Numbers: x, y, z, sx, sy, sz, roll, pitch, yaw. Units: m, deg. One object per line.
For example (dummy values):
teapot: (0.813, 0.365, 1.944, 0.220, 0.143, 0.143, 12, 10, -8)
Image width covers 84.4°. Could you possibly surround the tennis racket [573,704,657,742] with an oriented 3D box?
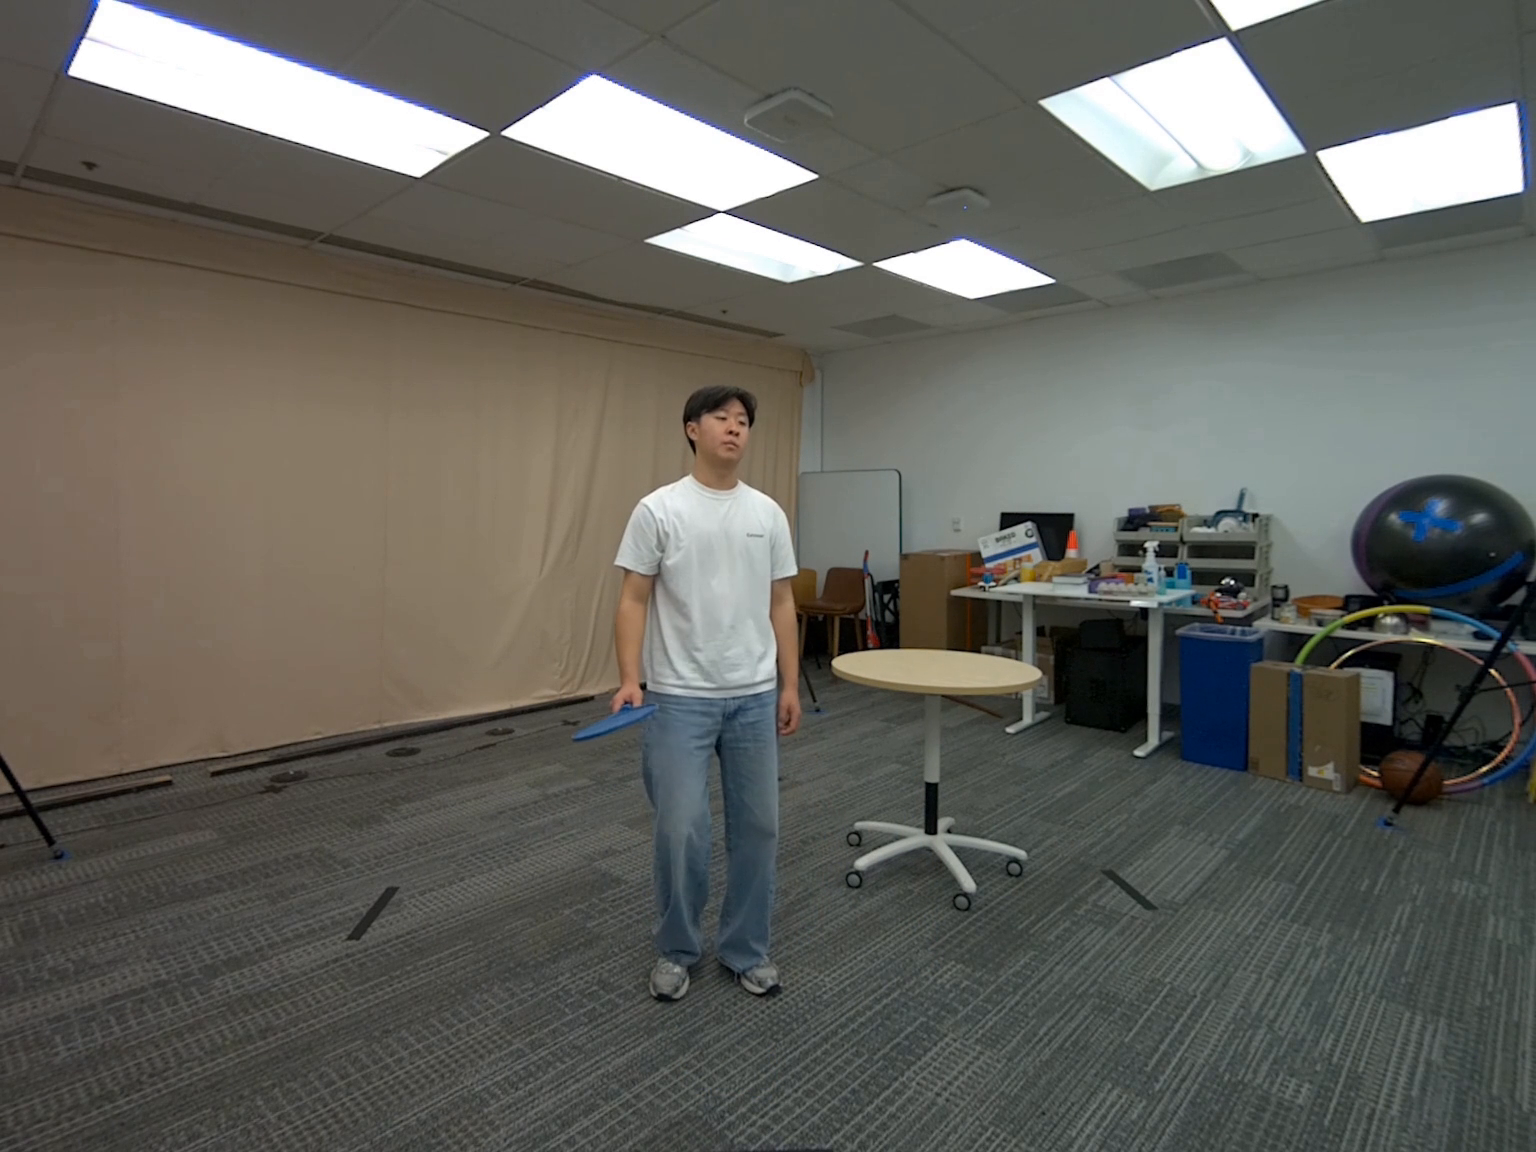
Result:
tennis racket: (-0.349, 0.348, 2.064, 0.214, 0.032, 0.433, -18, 1, -1)
